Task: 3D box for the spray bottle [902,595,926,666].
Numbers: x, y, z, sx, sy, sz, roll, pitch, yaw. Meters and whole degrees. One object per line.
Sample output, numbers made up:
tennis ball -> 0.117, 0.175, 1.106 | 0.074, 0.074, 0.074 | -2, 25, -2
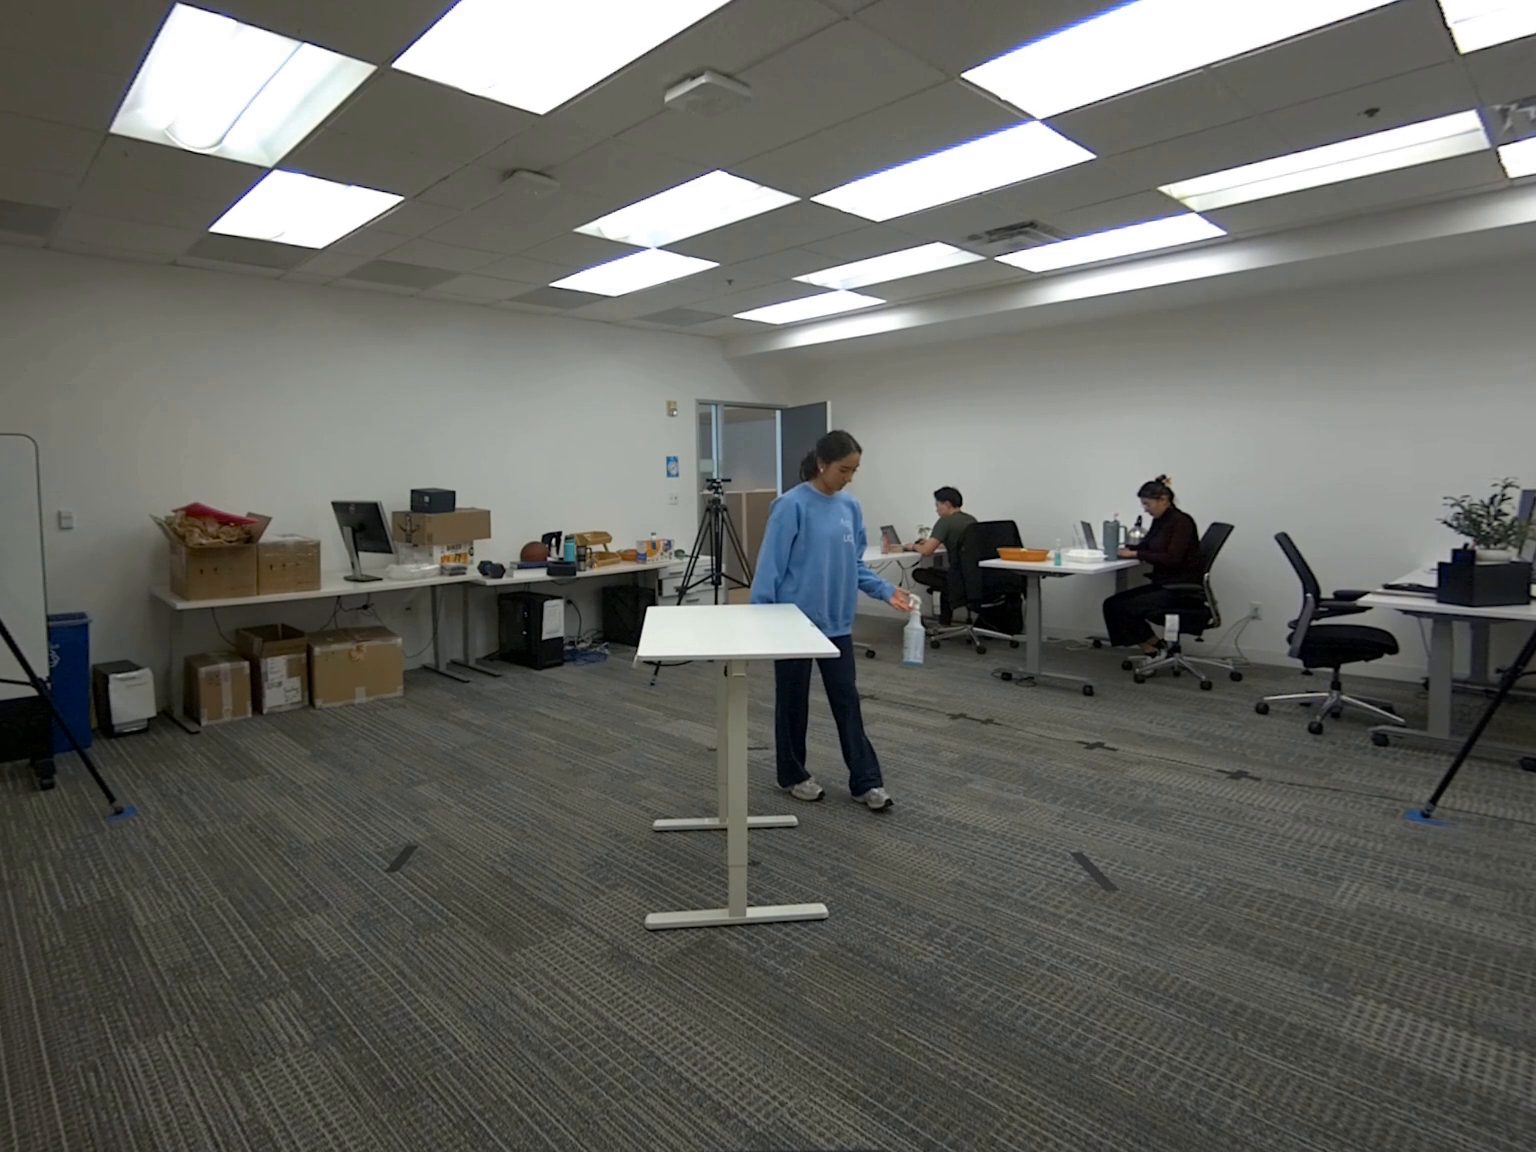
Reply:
spray bottle -> 0.614, 0.227, 3.619 | 0.088, 0.299, 0.089 | 9, -9, -27
